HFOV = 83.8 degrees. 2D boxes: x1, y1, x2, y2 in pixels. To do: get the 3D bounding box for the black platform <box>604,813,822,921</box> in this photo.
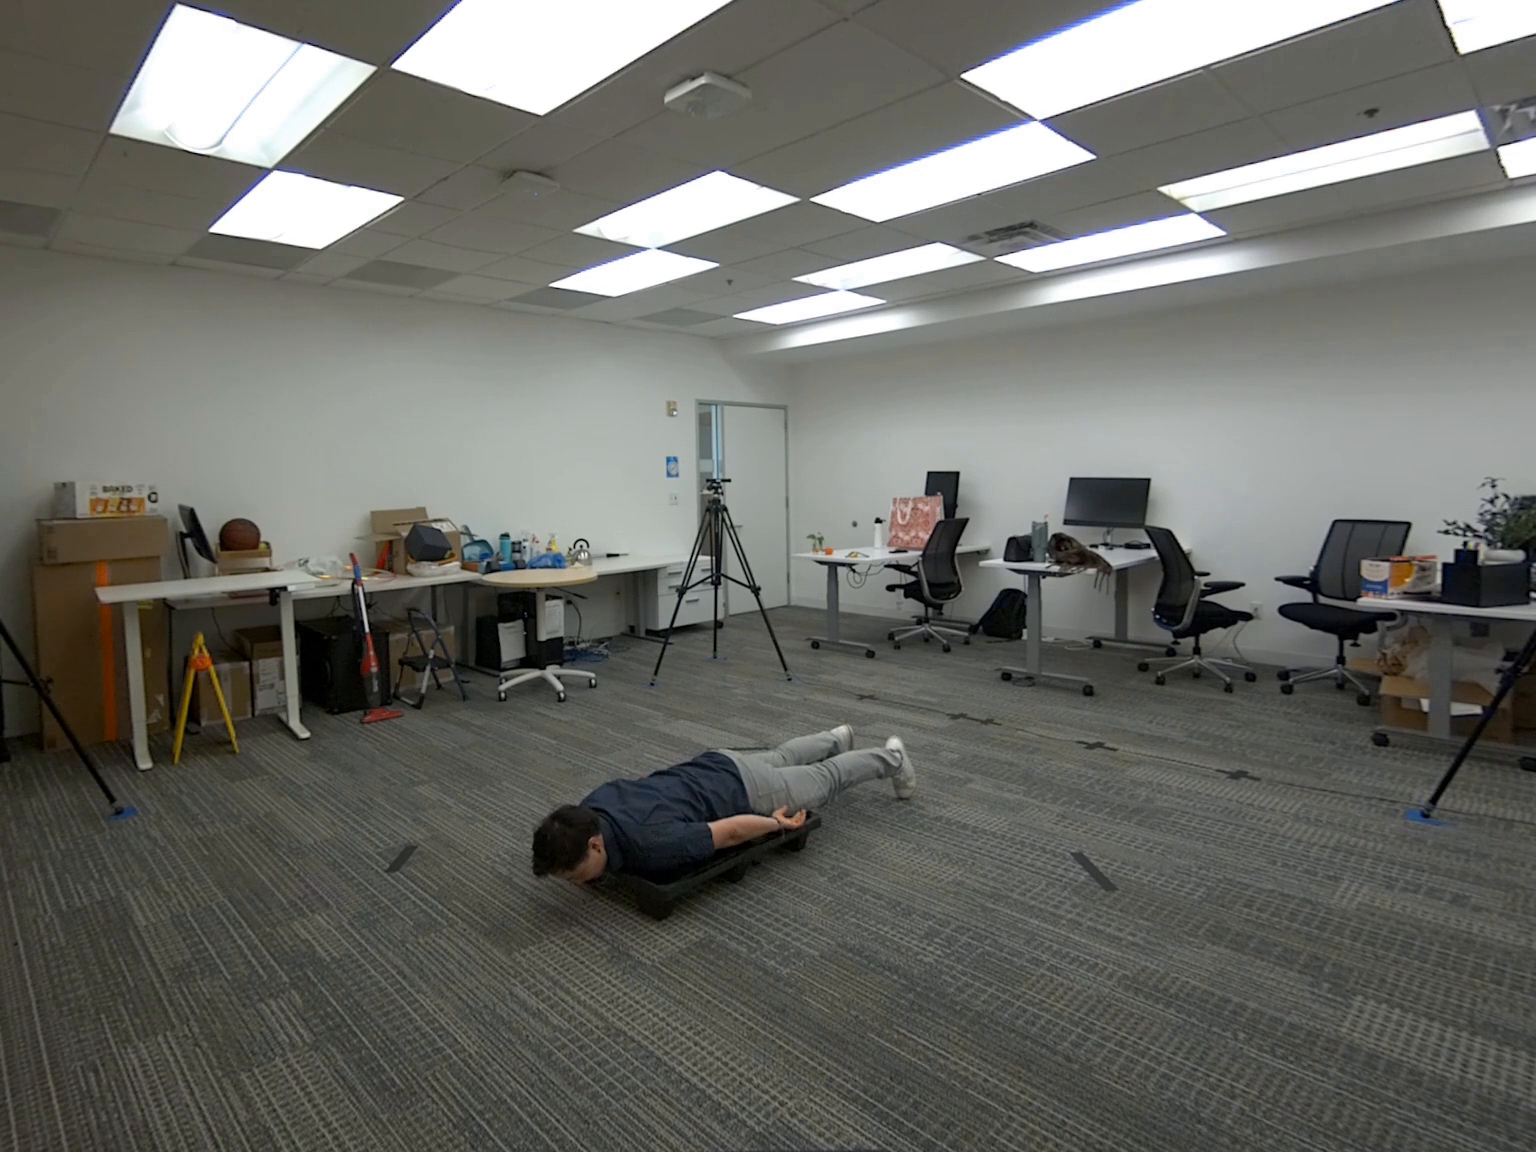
[{"bbox_3d":[-0.279,0.987,3.136,0.624,0.142,0.785,5,9,41],"label":"black platform"}]
